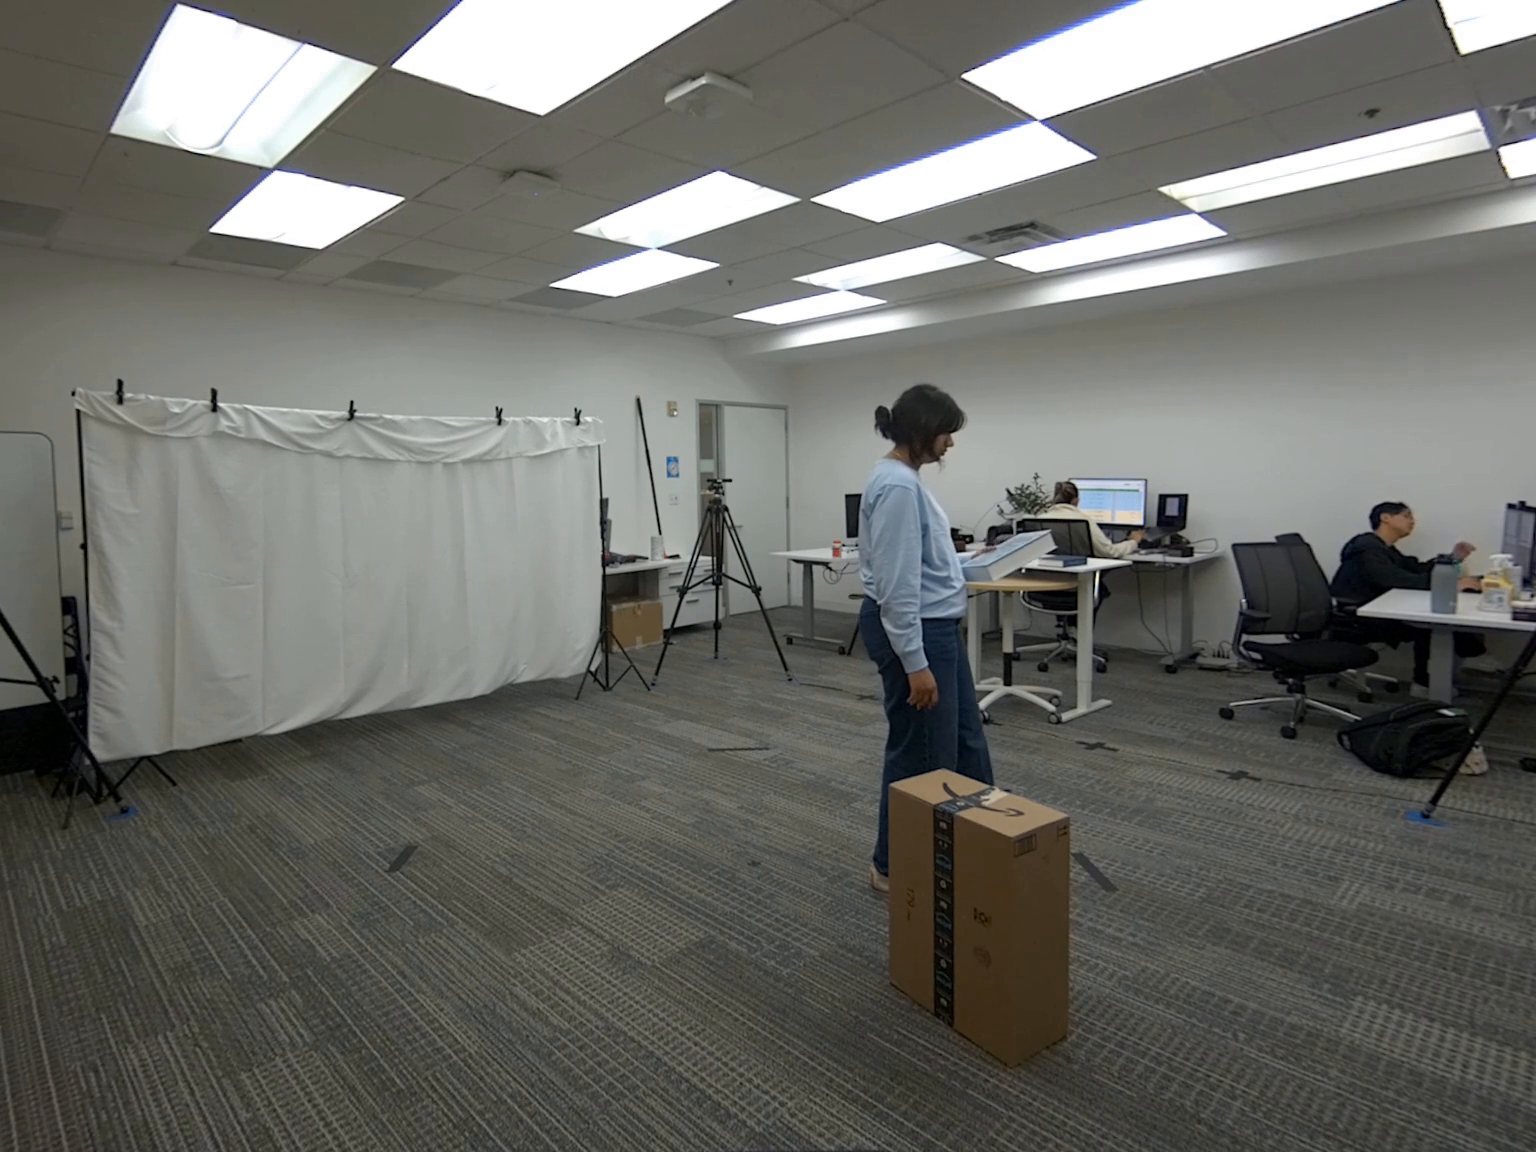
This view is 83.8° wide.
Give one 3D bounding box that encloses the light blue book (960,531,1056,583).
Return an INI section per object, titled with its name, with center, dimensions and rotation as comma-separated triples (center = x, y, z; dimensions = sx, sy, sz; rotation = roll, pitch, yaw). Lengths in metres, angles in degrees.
[light blue book]
center = 0.792, -0.061, 2.810
dimensions = 0.259, 0.059, 0.193
rotation = -27, 6, -13
